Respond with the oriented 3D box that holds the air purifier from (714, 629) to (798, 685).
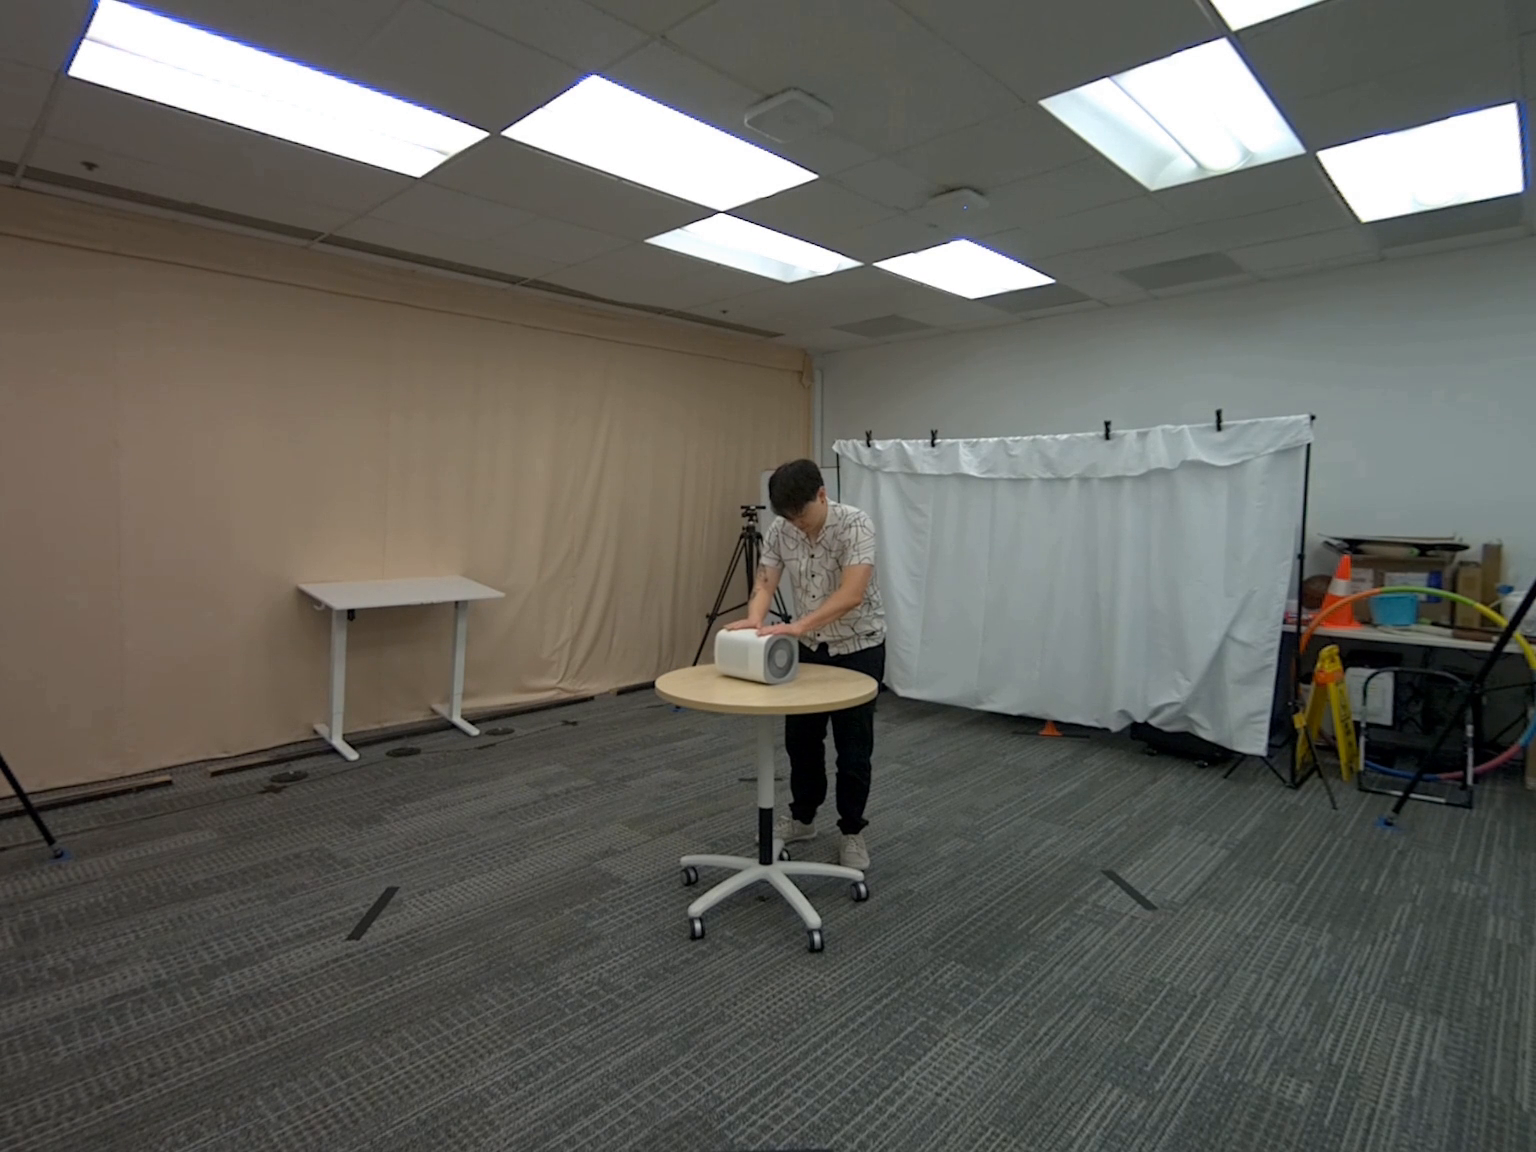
[{"bbox_3d":[-0.045,0.275,2.967,0.165,0.171,0.274,0,2,-45],"label":"air purifier"}]
